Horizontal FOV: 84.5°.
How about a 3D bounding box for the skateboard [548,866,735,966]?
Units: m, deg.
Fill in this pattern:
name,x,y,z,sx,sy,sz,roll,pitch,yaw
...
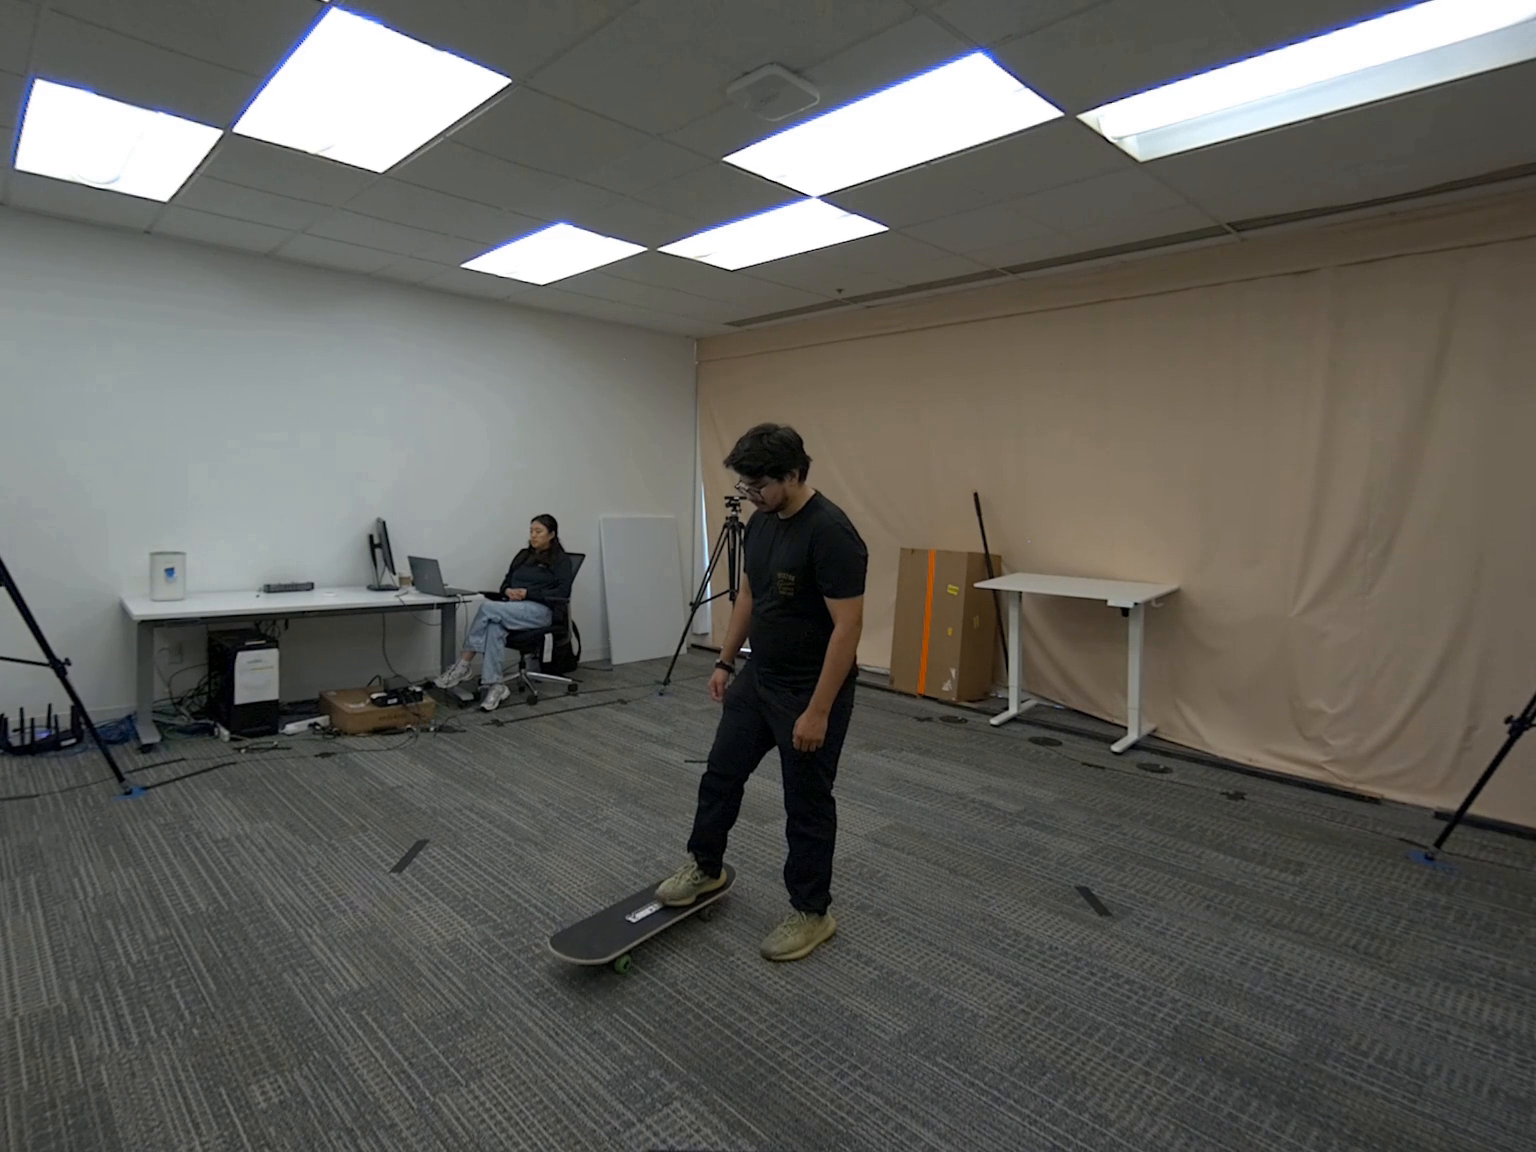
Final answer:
name,x,y,z,sx,sy,sz,roll,pitch,yaw
skateboard,-0.378,1.082,2.654,0.198,0.110,0.768,9,8,34
